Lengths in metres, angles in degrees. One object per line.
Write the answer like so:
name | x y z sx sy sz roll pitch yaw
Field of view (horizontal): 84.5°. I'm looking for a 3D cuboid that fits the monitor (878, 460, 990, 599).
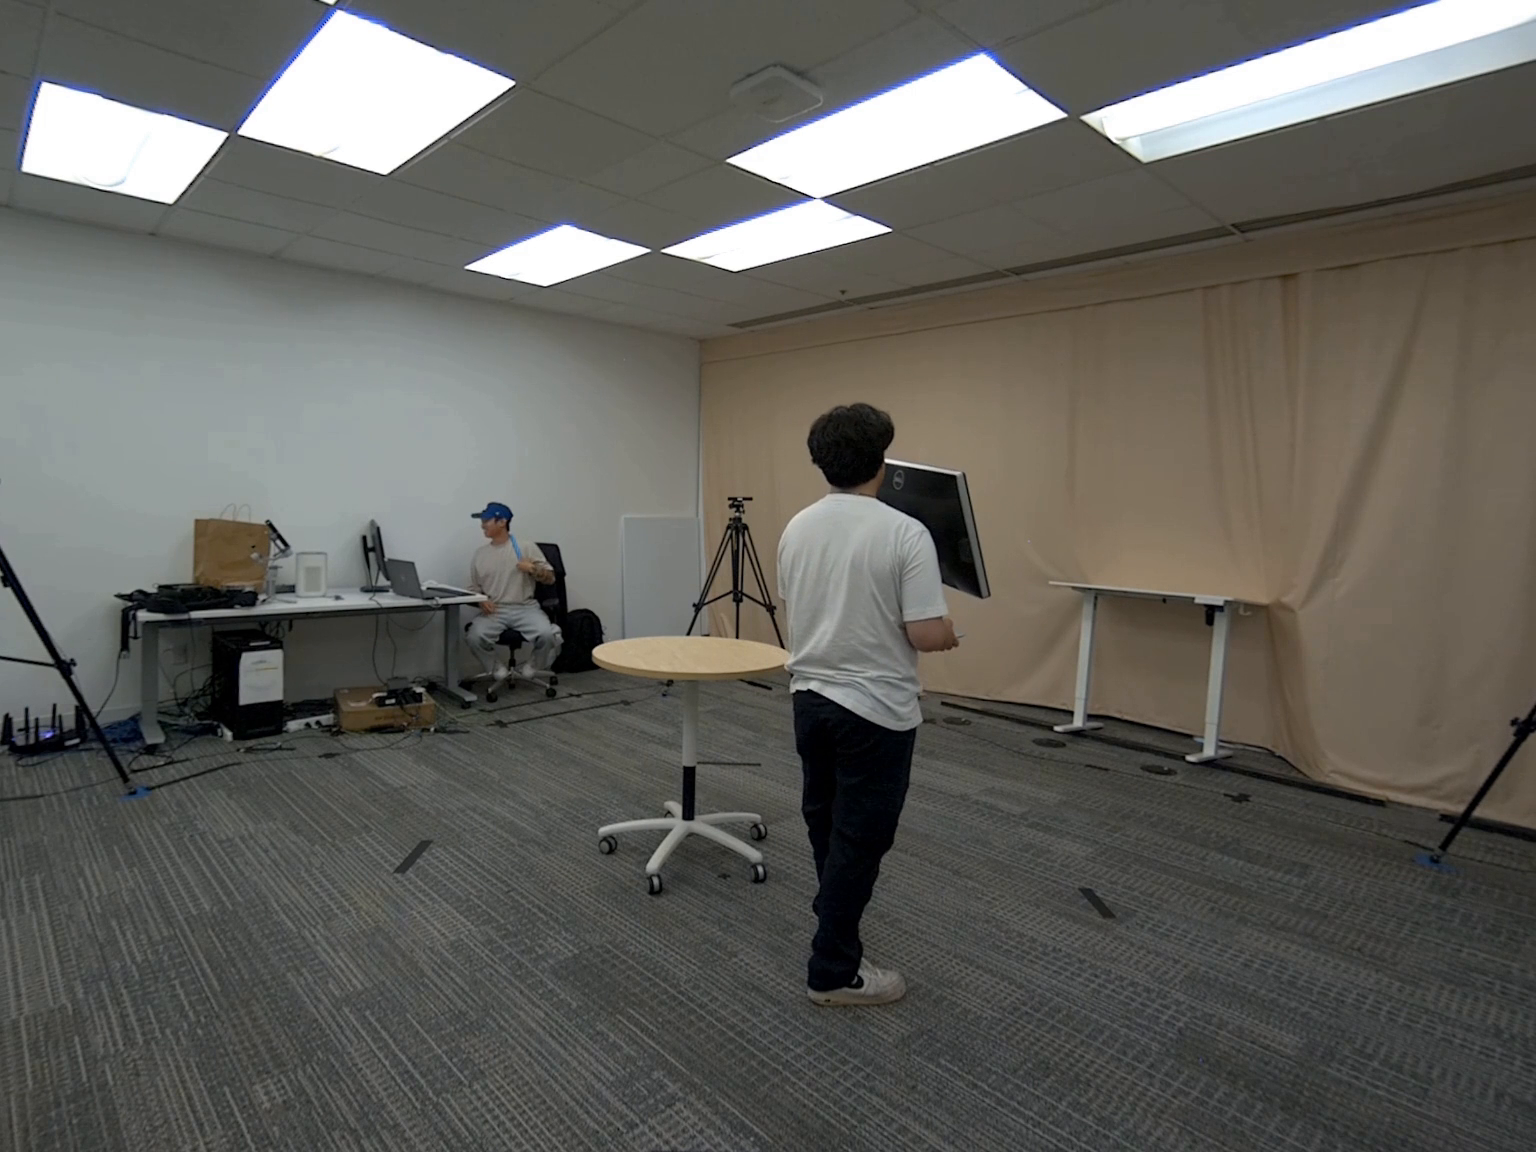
monitor | 0.397 -0.061 2.503 0.208 0.547 0.578 -13 16 -18
